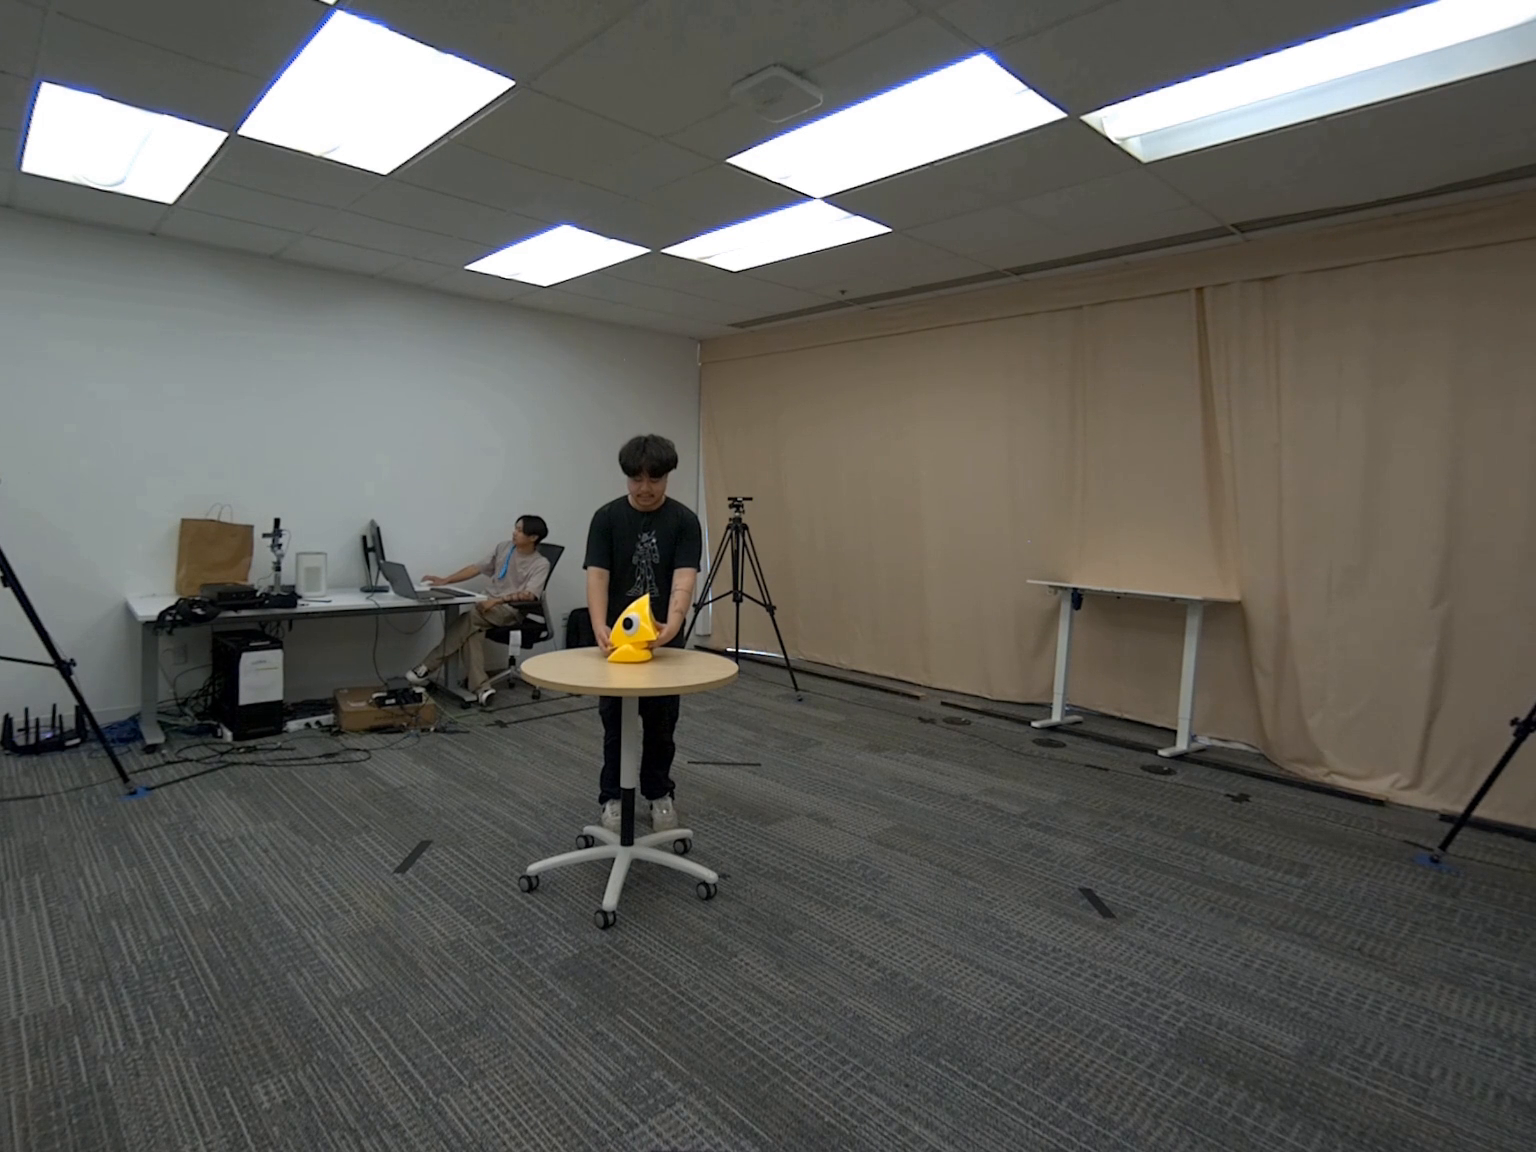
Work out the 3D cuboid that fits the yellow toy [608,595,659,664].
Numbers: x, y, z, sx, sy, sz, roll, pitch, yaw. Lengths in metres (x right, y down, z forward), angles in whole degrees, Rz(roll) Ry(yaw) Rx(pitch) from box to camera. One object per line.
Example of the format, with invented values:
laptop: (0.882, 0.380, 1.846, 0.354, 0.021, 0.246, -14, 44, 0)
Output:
yellow toy: (-0.509, 0.181, 3.096, 0.193, 0.230, 0.206, 0, 5, -3)
